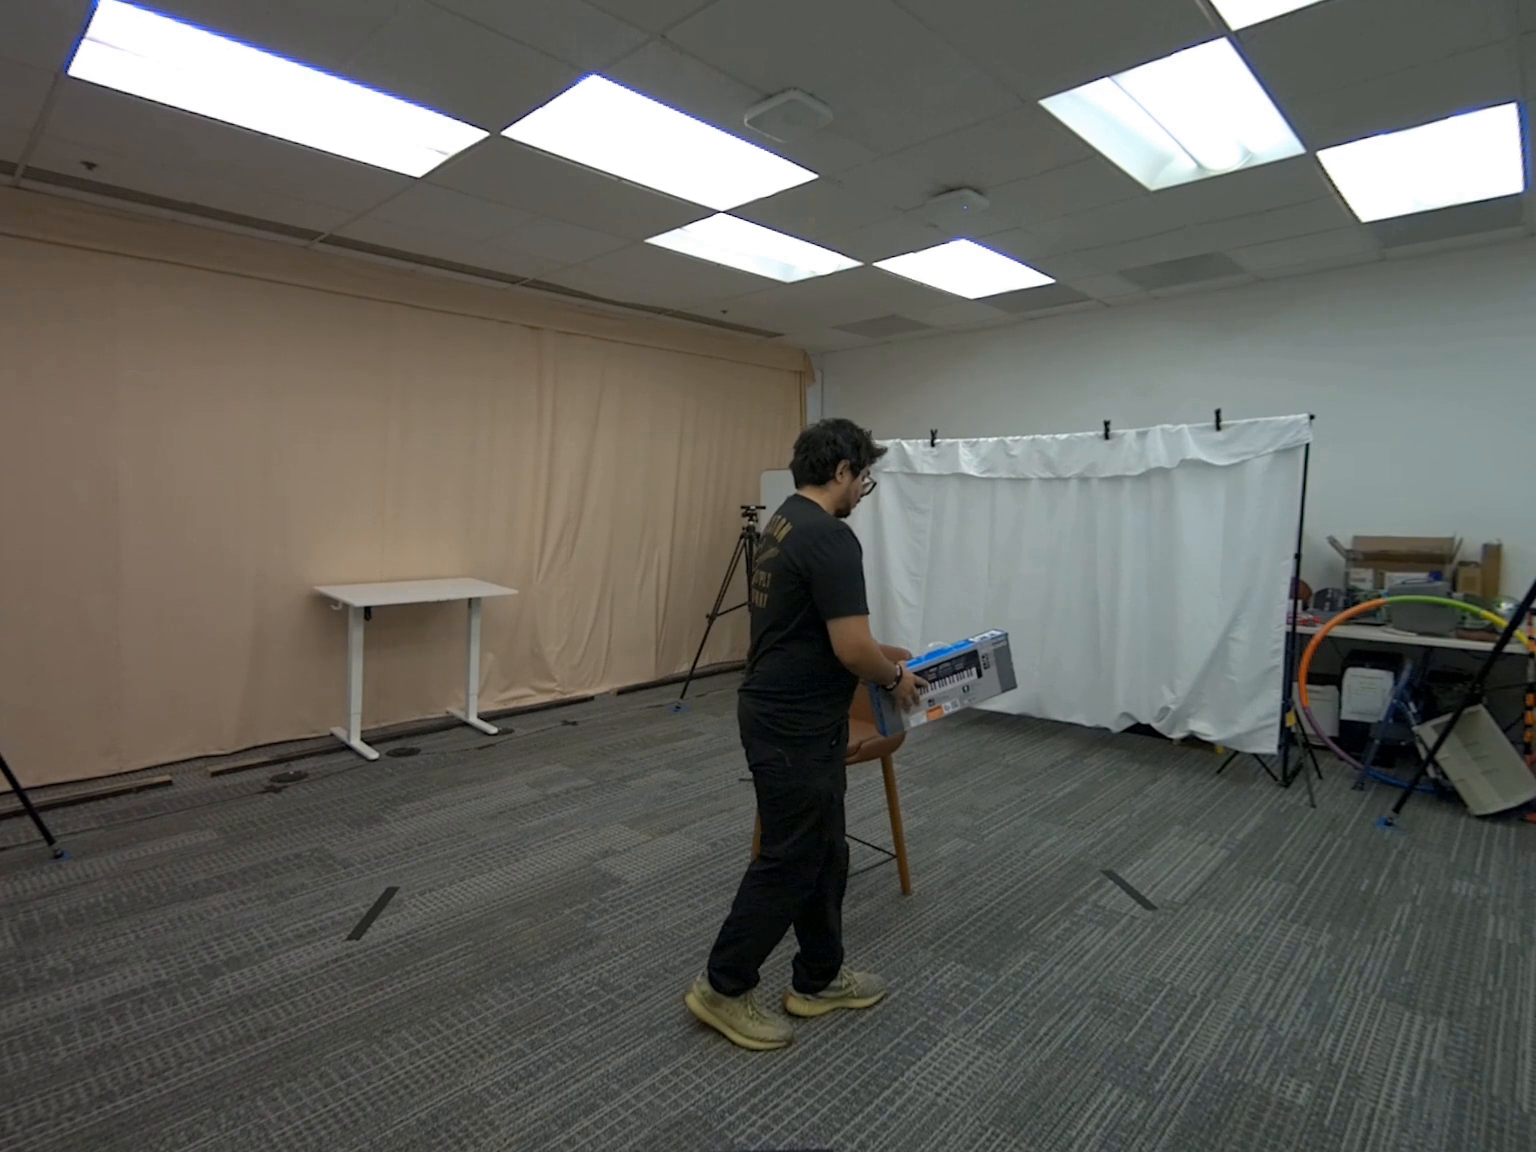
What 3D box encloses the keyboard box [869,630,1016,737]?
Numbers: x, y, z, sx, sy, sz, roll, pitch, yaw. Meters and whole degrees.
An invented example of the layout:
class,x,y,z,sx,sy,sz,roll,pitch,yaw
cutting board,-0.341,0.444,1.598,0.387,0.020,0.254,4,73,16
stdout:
class,x,y,z,sx,sy,sz,roll,pitch,yaw
keyboard box,0.505,0.302,2.357,0.430,0.174,0.060,-17,12,-18
